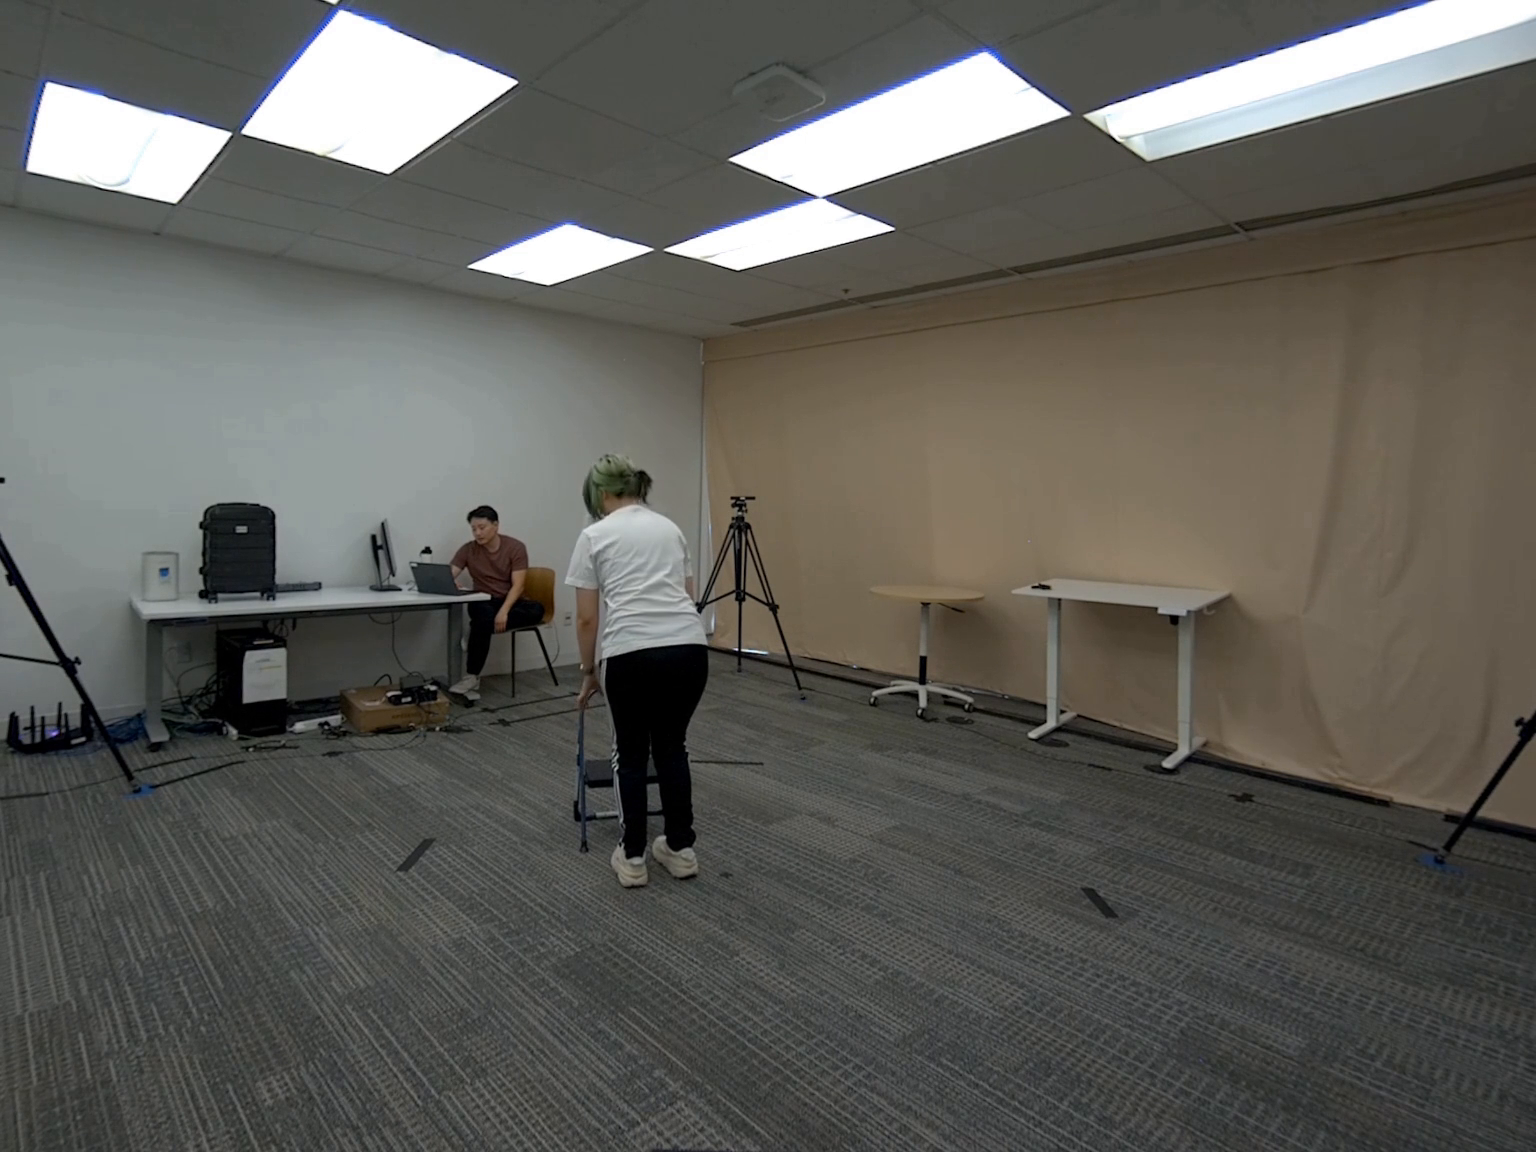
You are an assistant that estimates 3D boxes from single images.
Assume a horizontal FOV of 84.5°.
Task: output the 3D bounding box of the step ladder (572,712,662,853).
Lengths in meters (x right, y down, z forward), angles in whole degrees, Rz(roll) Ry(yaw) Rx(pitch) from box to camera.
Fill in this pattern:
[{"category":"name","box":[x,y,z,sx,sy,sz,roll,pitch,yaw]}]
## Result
[{"category":"step ladder","box":[-0.584,0.759,3.485,0.424,0.605,0.355,0,3,-19]}]
